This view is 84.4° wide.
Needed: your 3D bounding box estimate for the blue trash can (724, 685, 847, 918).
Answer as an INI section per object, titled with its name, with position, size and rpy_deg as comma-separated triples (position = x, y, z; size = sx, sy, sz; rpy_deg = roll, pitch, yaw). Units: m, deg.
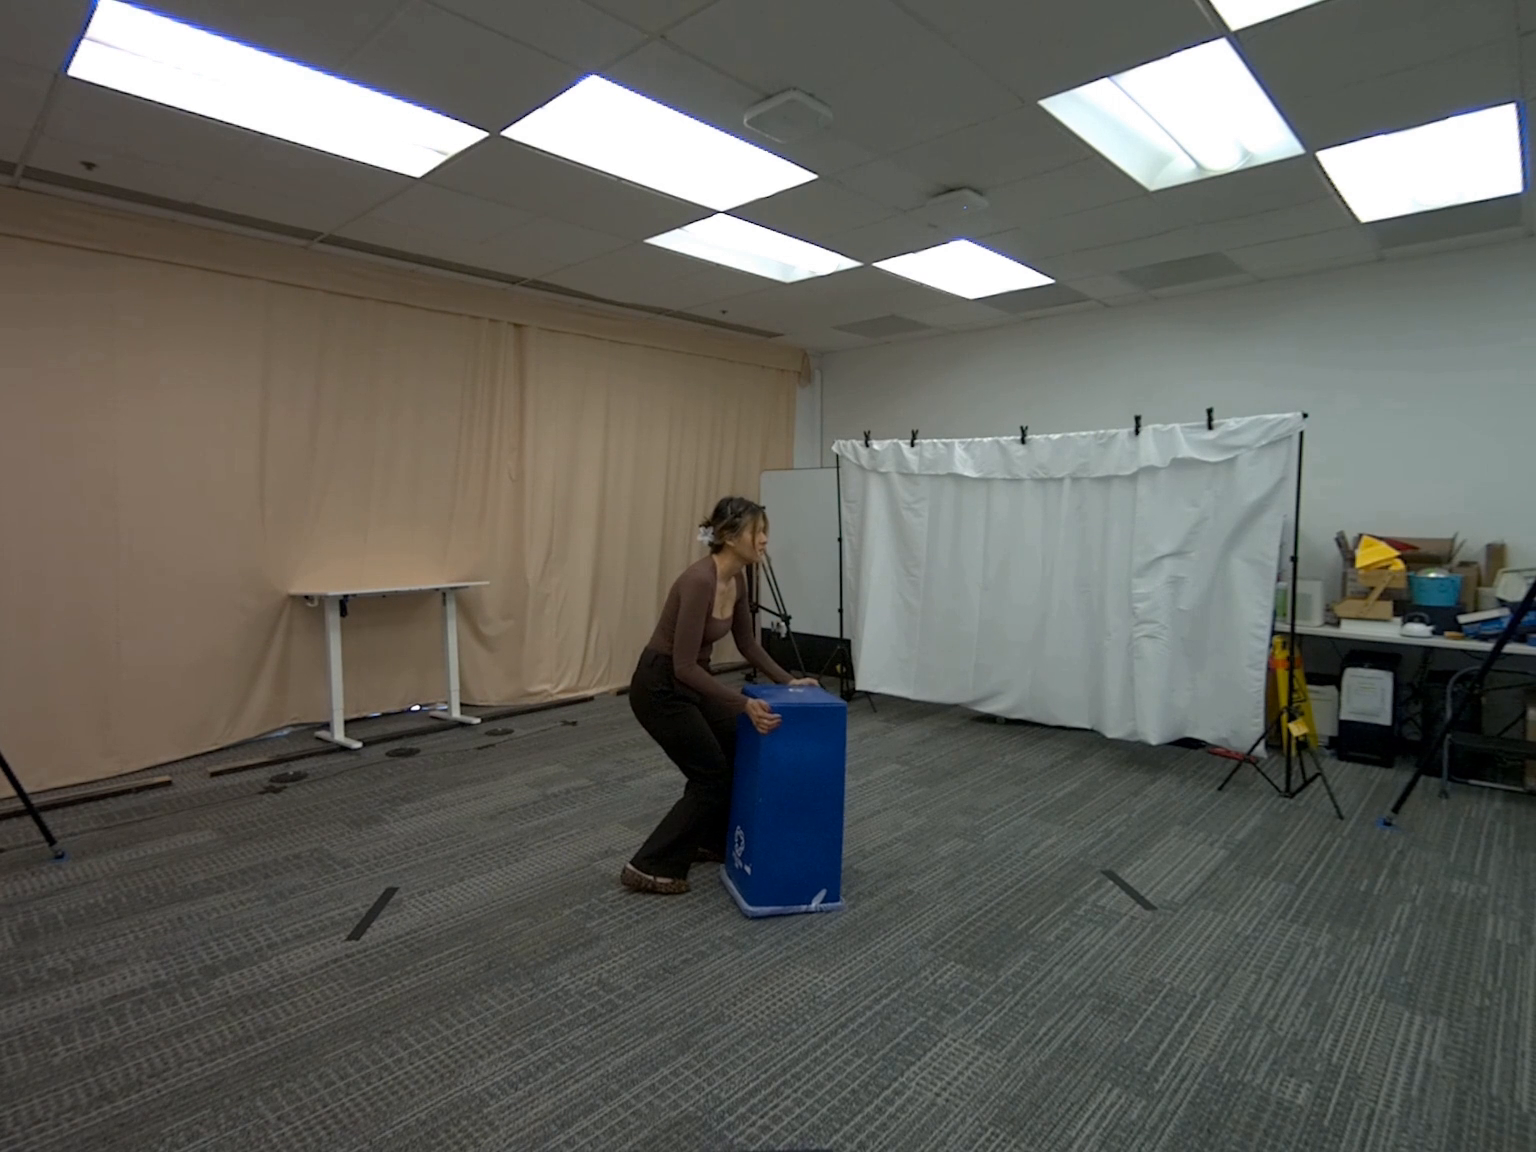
[blue trash can]
position = 0.068, 0.775, 3.023
size = 0.371, 0.713, 0.381
rpy_deg = 3, 2, -17
